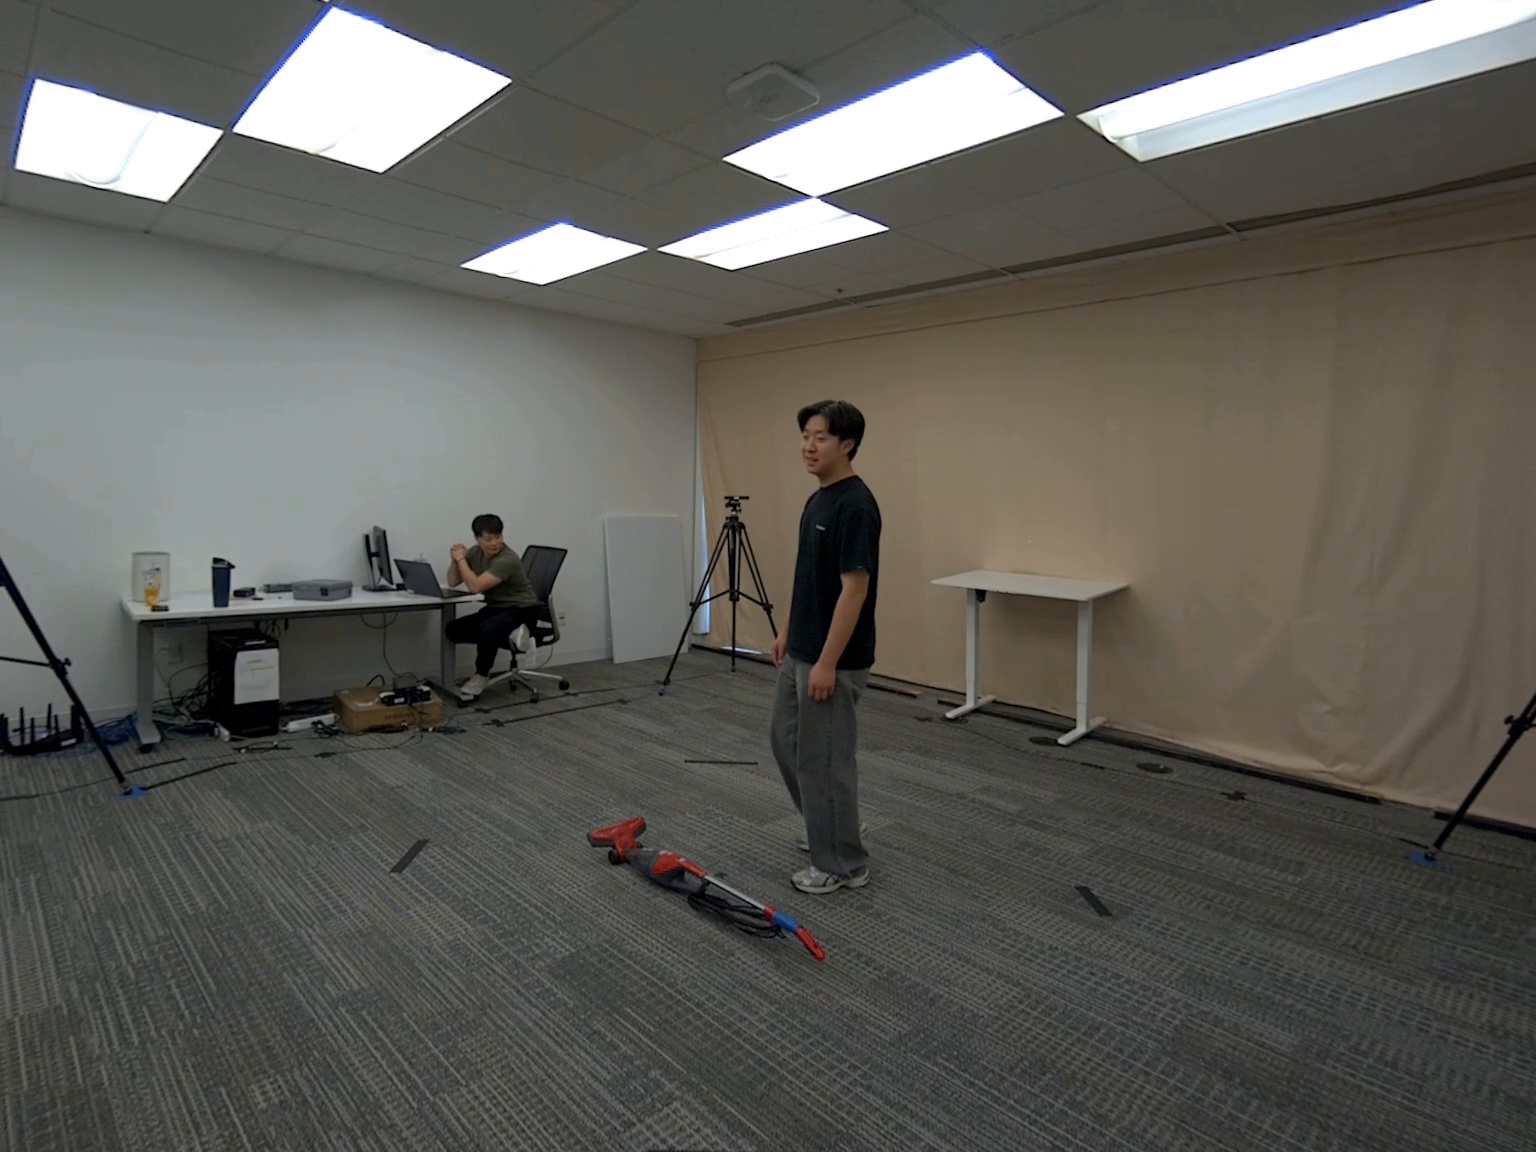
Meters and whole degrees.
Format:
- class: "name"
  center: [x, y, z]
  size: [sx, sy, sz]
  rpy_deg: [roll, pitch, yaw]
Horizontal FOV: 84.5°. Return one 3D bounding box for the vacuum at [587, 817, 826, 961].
- class: "vacuum"
  center: [-0.212, 1.066, 2.845]
  size: [0.247, 0.143, 1.077]
  rpy_deg: [-2, 6, -42]
